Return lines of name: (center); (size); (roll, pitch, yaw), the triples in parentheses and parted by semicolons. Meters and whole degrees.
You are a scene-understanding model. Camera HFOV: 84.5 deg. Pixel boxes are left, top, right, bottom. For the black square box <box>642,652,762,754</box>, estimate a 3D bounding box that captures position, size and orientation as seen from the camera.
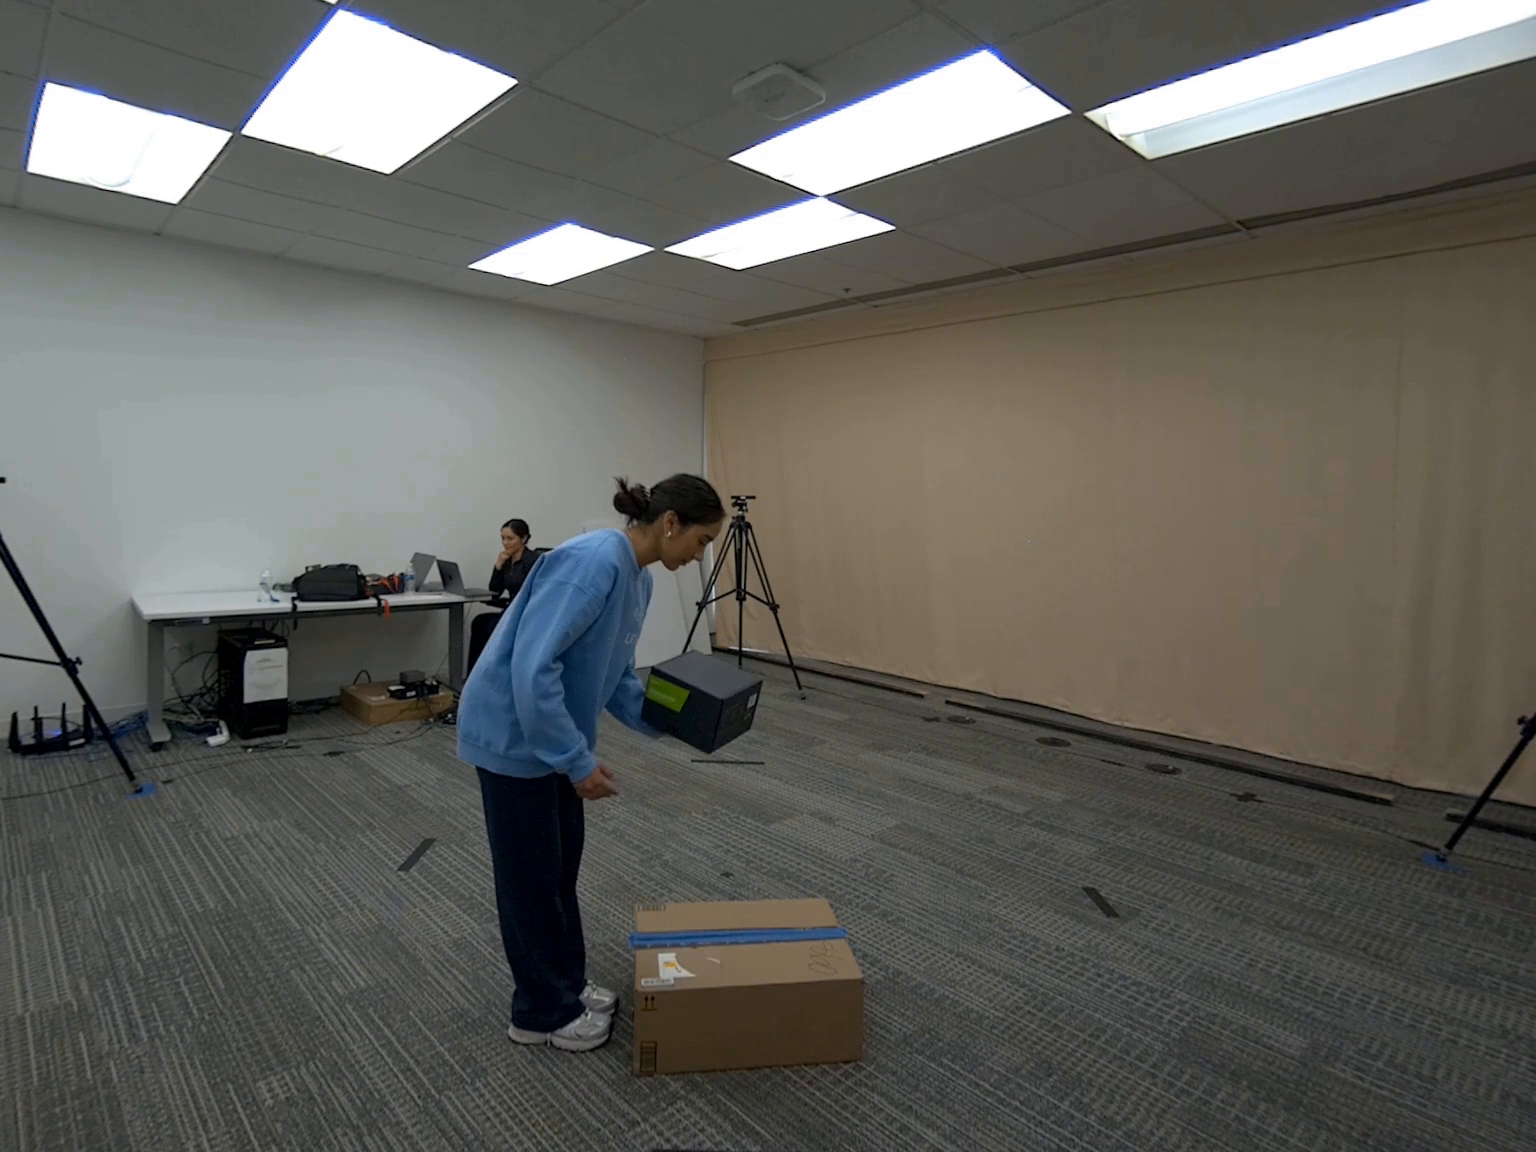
black square box: (-0.188, 0.320, 2.246); (0.233, 0.154, 0.213); (20, 17, 26)
